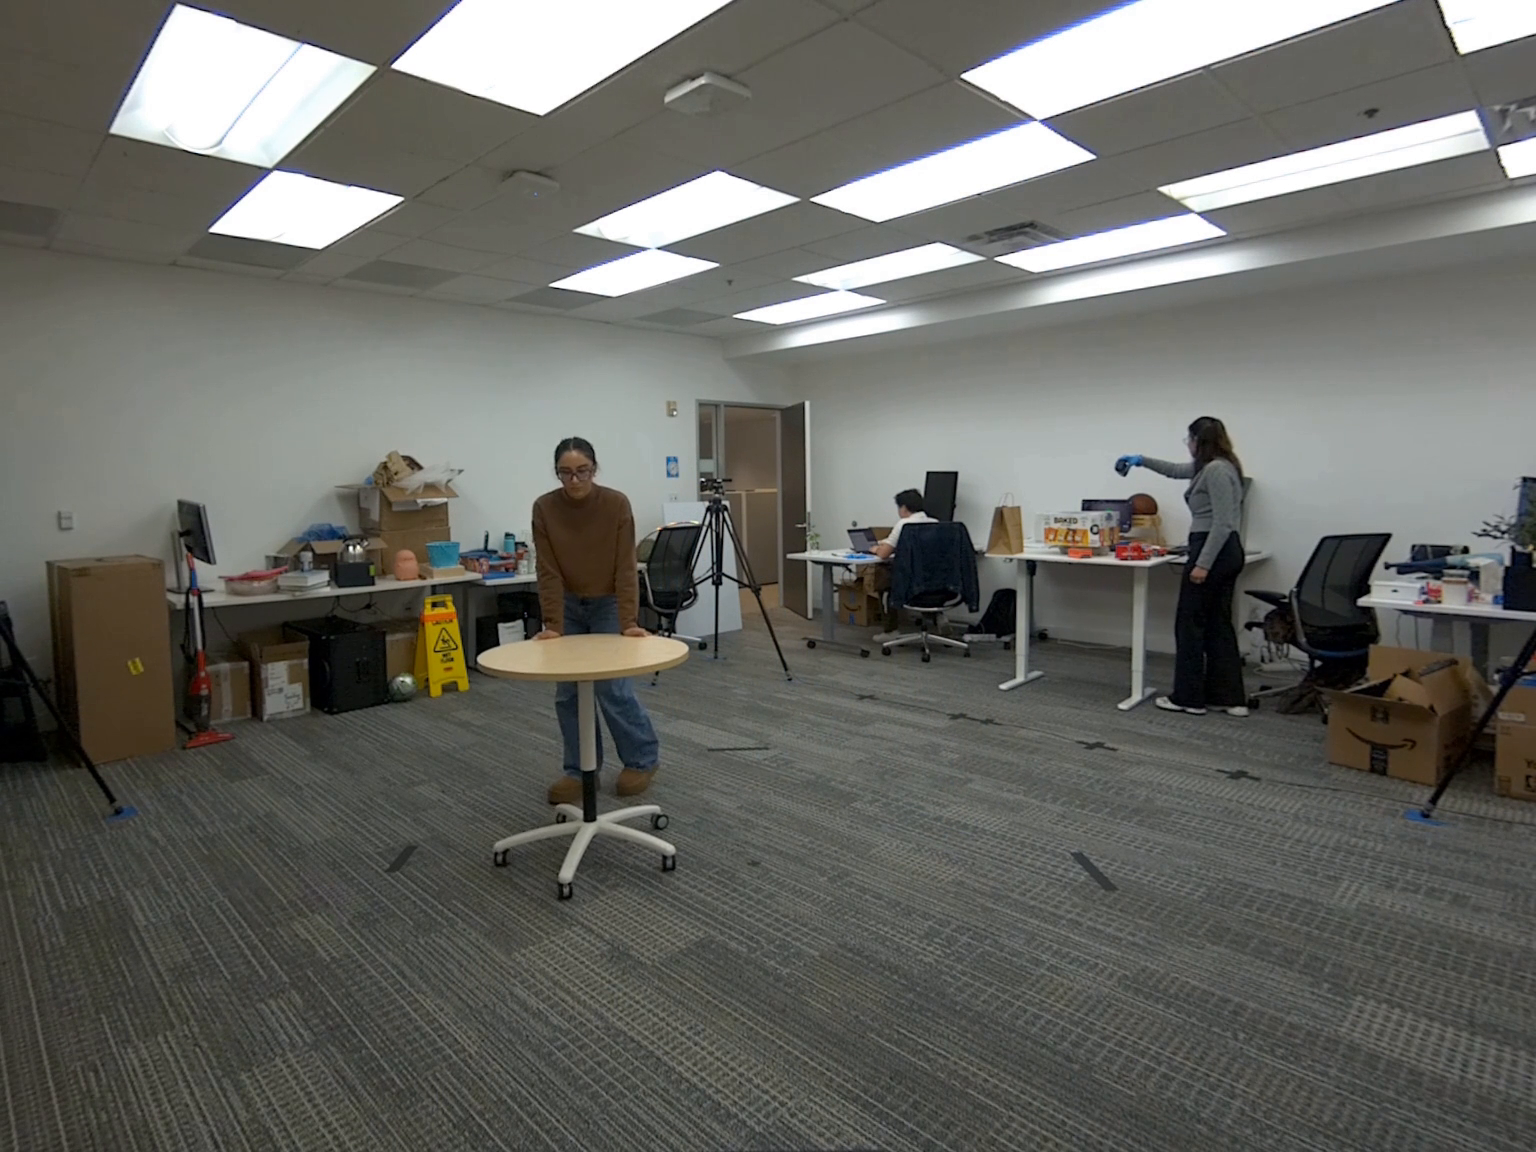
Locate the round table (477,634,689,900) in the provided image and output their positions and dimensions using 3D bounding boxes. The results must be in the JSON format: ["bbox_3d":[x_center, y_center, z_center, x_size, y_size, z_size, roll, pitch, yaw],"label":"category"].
[{"bbox_3d":[-0.661,0.665,3.169,0.763,0.791,0.767,-1,4,-2],"label":"round table"}]
